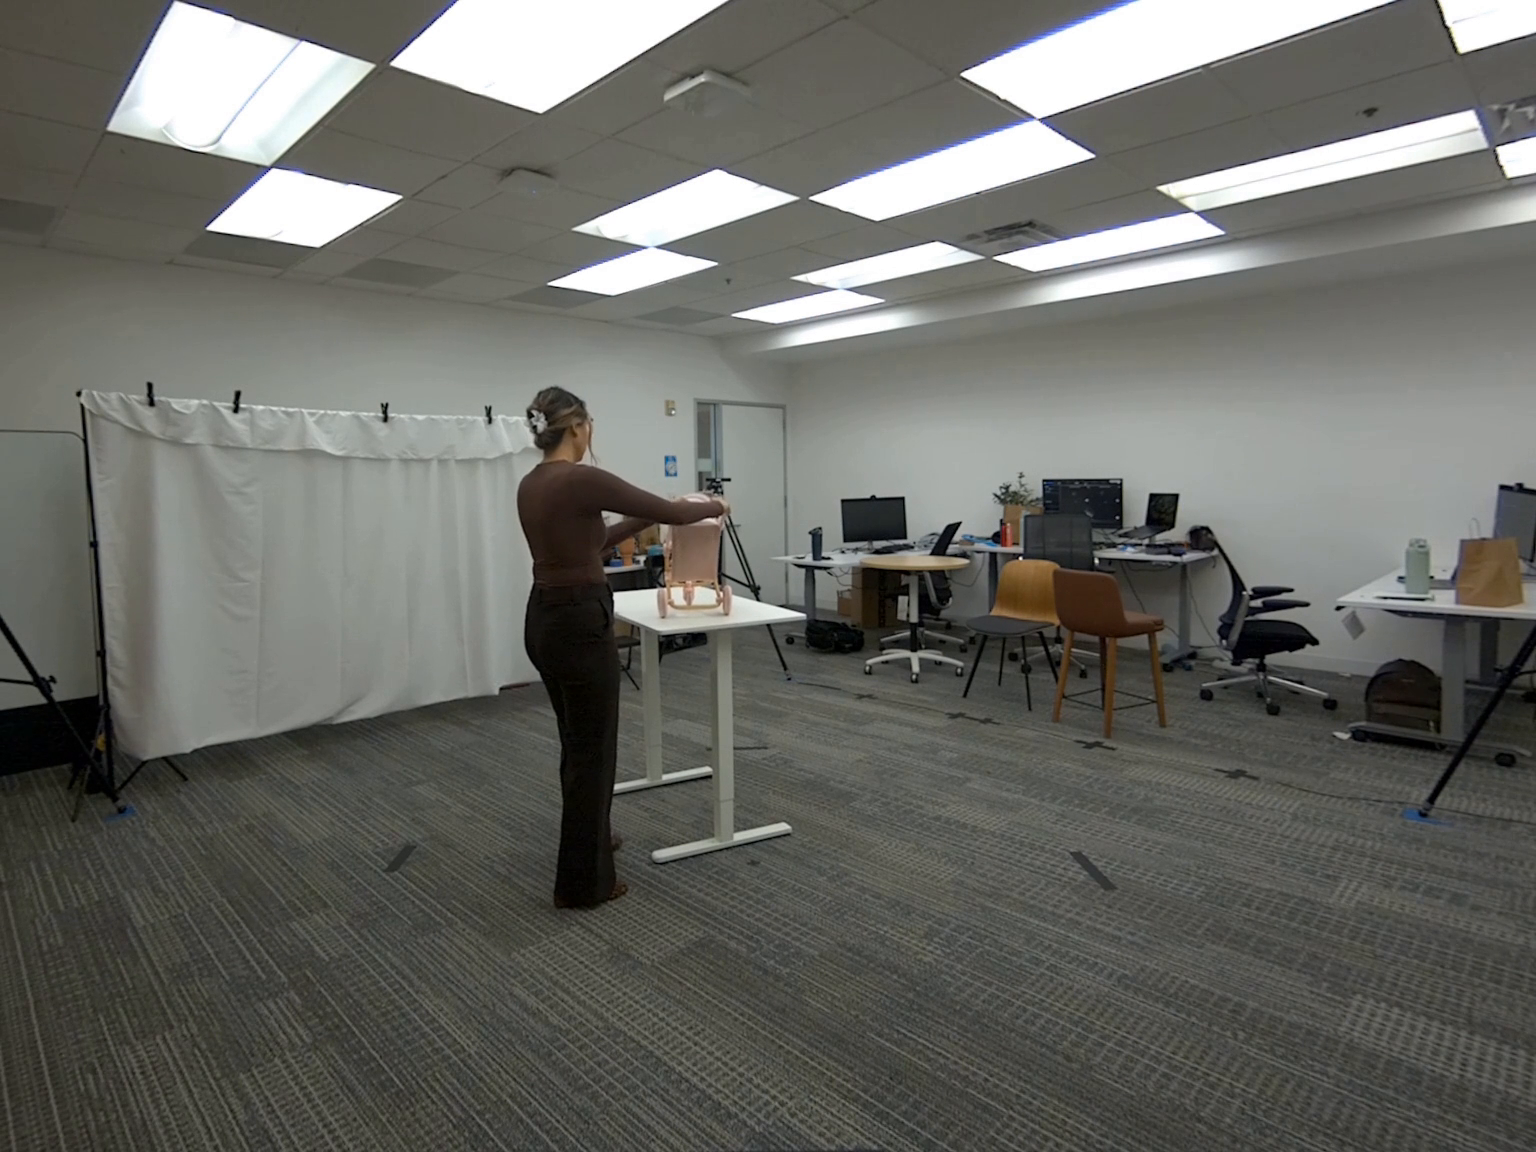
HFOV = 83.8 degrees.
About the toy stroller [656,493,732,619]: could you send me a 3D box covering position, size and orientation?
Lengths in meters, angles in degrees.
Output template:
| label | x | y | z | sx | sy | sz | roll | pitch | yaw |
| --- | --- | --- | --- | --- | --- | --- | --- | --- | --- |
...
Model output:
| label | x | y | z | sx | sy | sz | roll | pitch | yaw |
| --- | --- | --- | --- | --- | --- | --- | --- | --- | --- |
| toy stroller | -0.285 | -0.076 | 3.289 | 0.280 | 0.526 | 0.349 | 0 | 20 | -7 |
